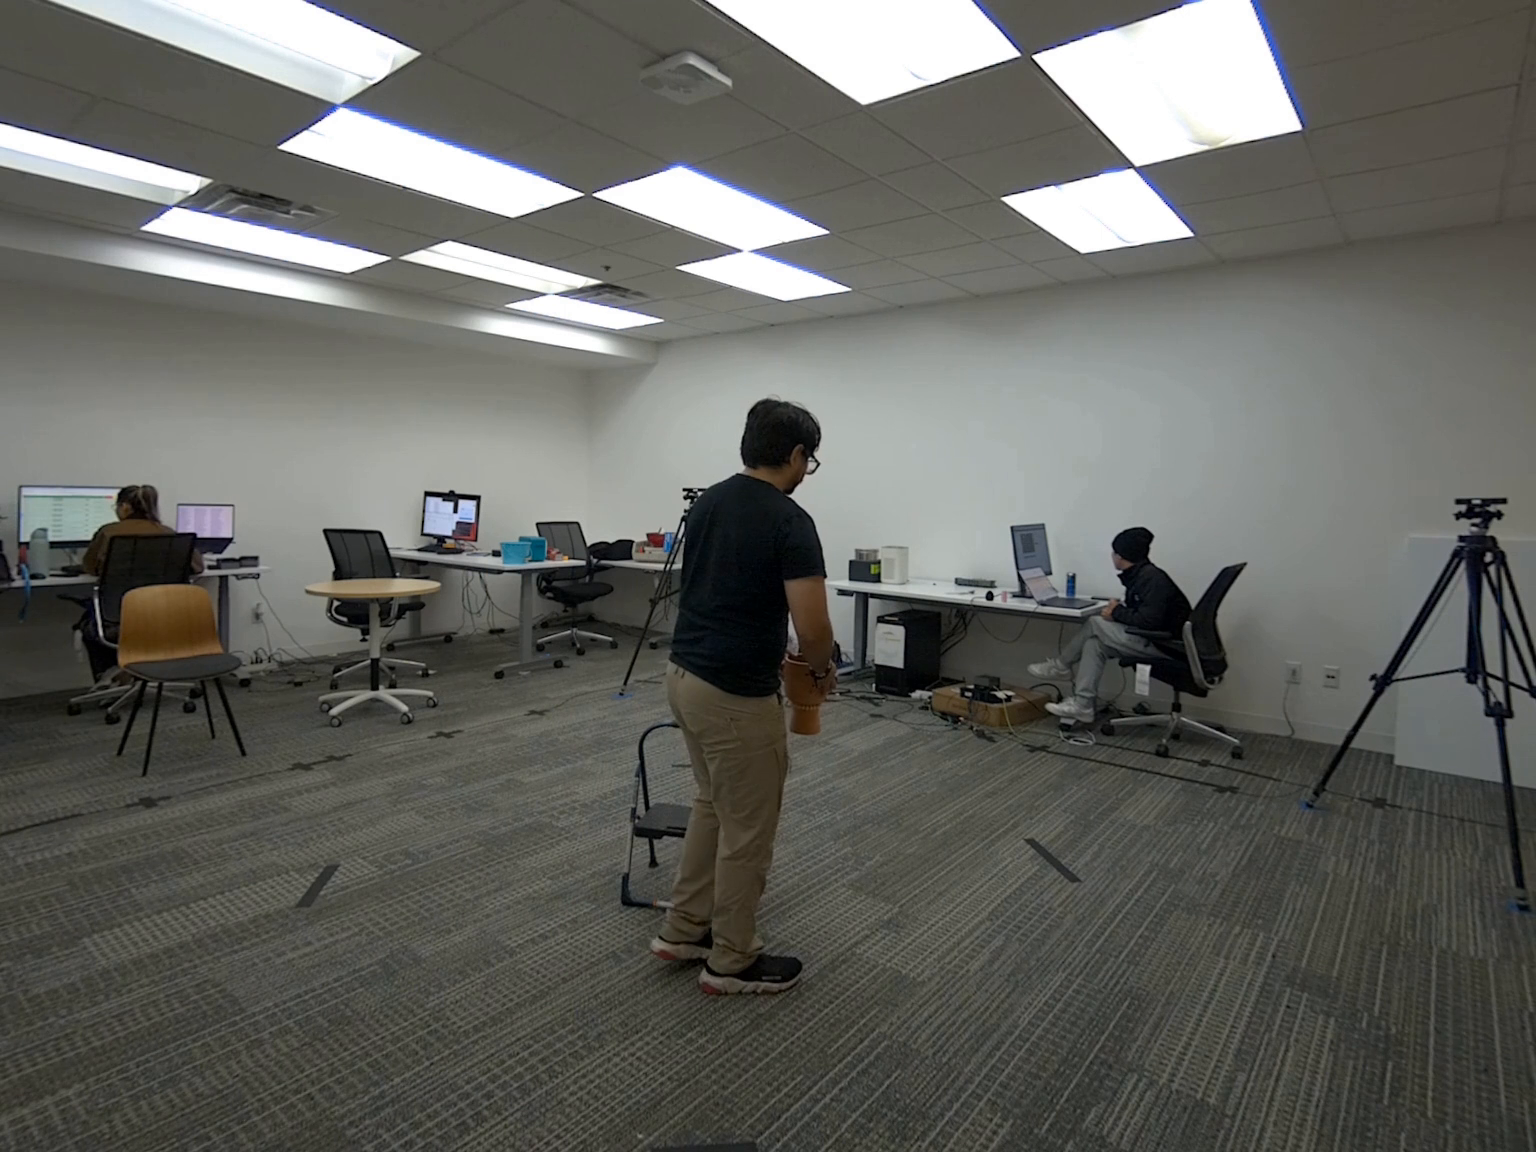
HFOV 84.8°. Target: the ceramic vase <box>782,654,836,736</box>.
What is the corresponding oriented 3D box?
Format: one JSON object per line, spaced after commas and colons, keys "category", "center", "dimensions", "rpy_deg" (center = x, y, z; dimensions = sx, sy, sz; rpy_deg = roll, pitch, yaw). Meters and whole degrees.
{"category": "ceramic vase", "center": [0.102, 0.358, 2.545], "dimensions": [0.133, 0.218, 0.161], "rpy_deg": [0, 7, -9]}
